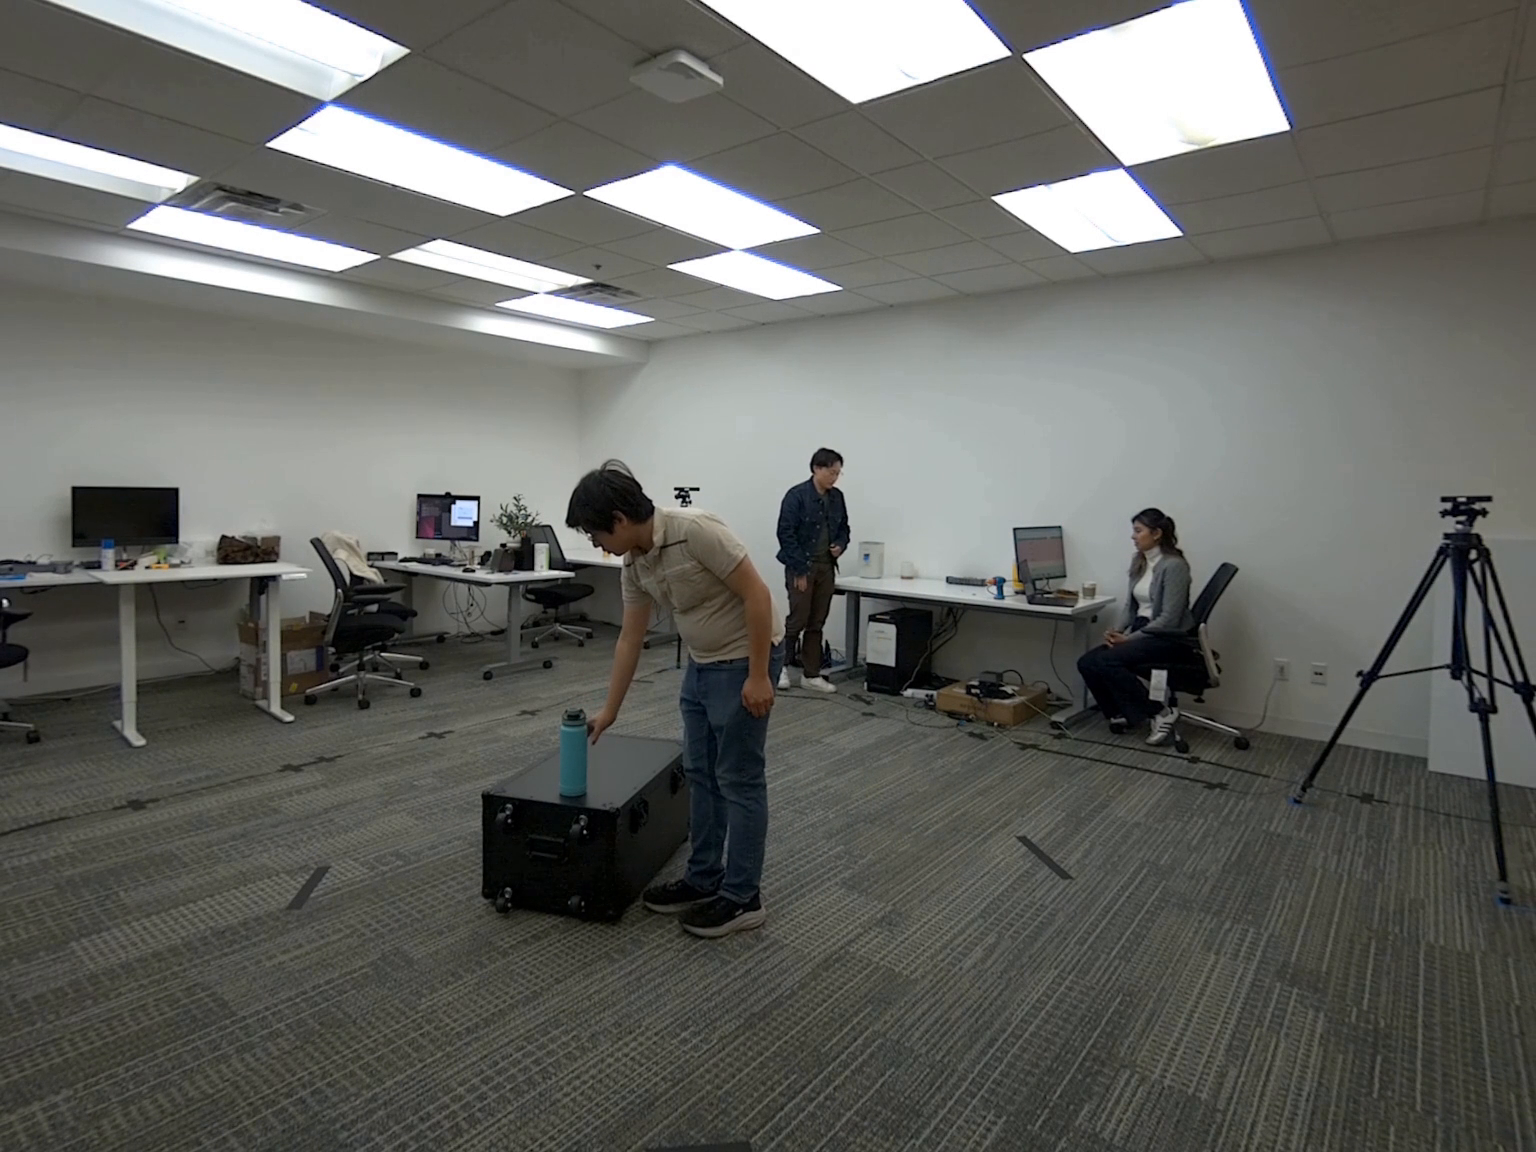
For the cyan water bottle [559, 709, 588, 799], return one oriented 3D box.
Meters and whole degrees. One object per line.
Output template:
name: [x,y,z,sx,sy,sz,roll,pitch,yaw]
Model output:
cyan water bottle: [-0.658,0.573,2.821,0.092,0.283,0.092,1,2,-2]
